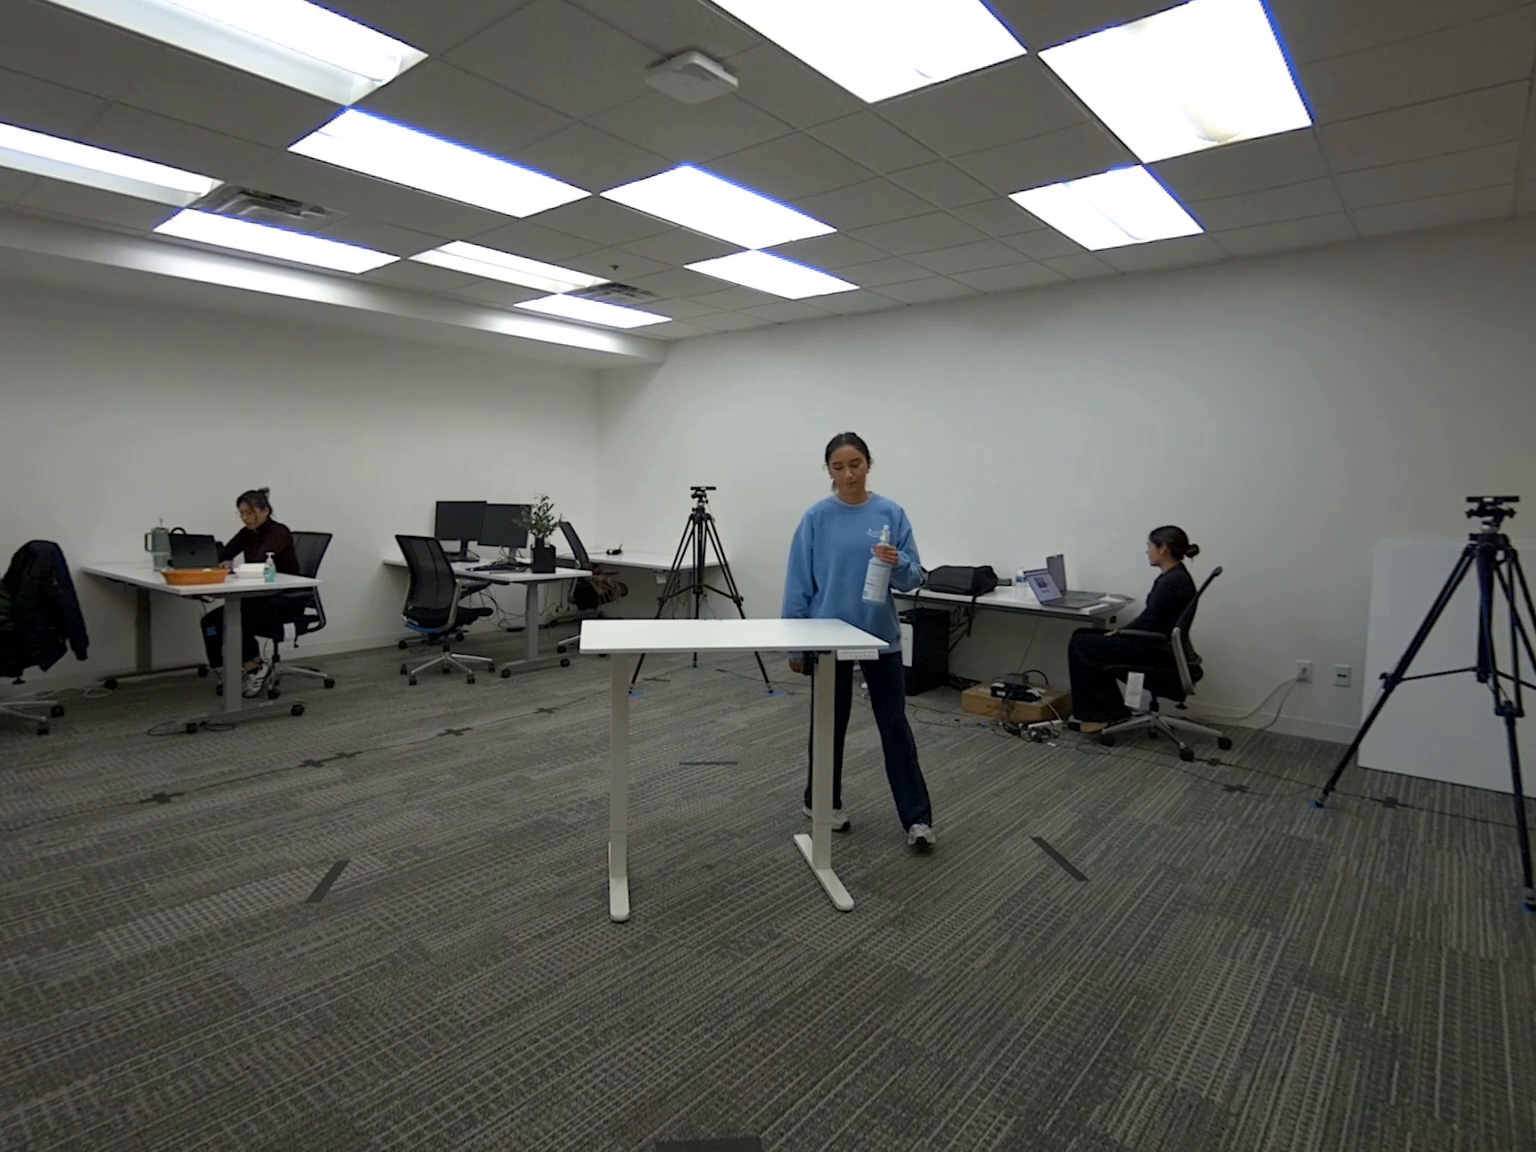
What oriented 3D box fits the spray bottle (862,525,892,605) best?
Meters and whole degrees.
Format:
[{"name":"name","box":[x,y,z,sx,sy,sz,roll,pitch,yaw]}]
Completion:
[{"name":"spray bottle","box":[0.418,-0.049,3.185,0.090,0.296,0.087,9,4,38]}]
